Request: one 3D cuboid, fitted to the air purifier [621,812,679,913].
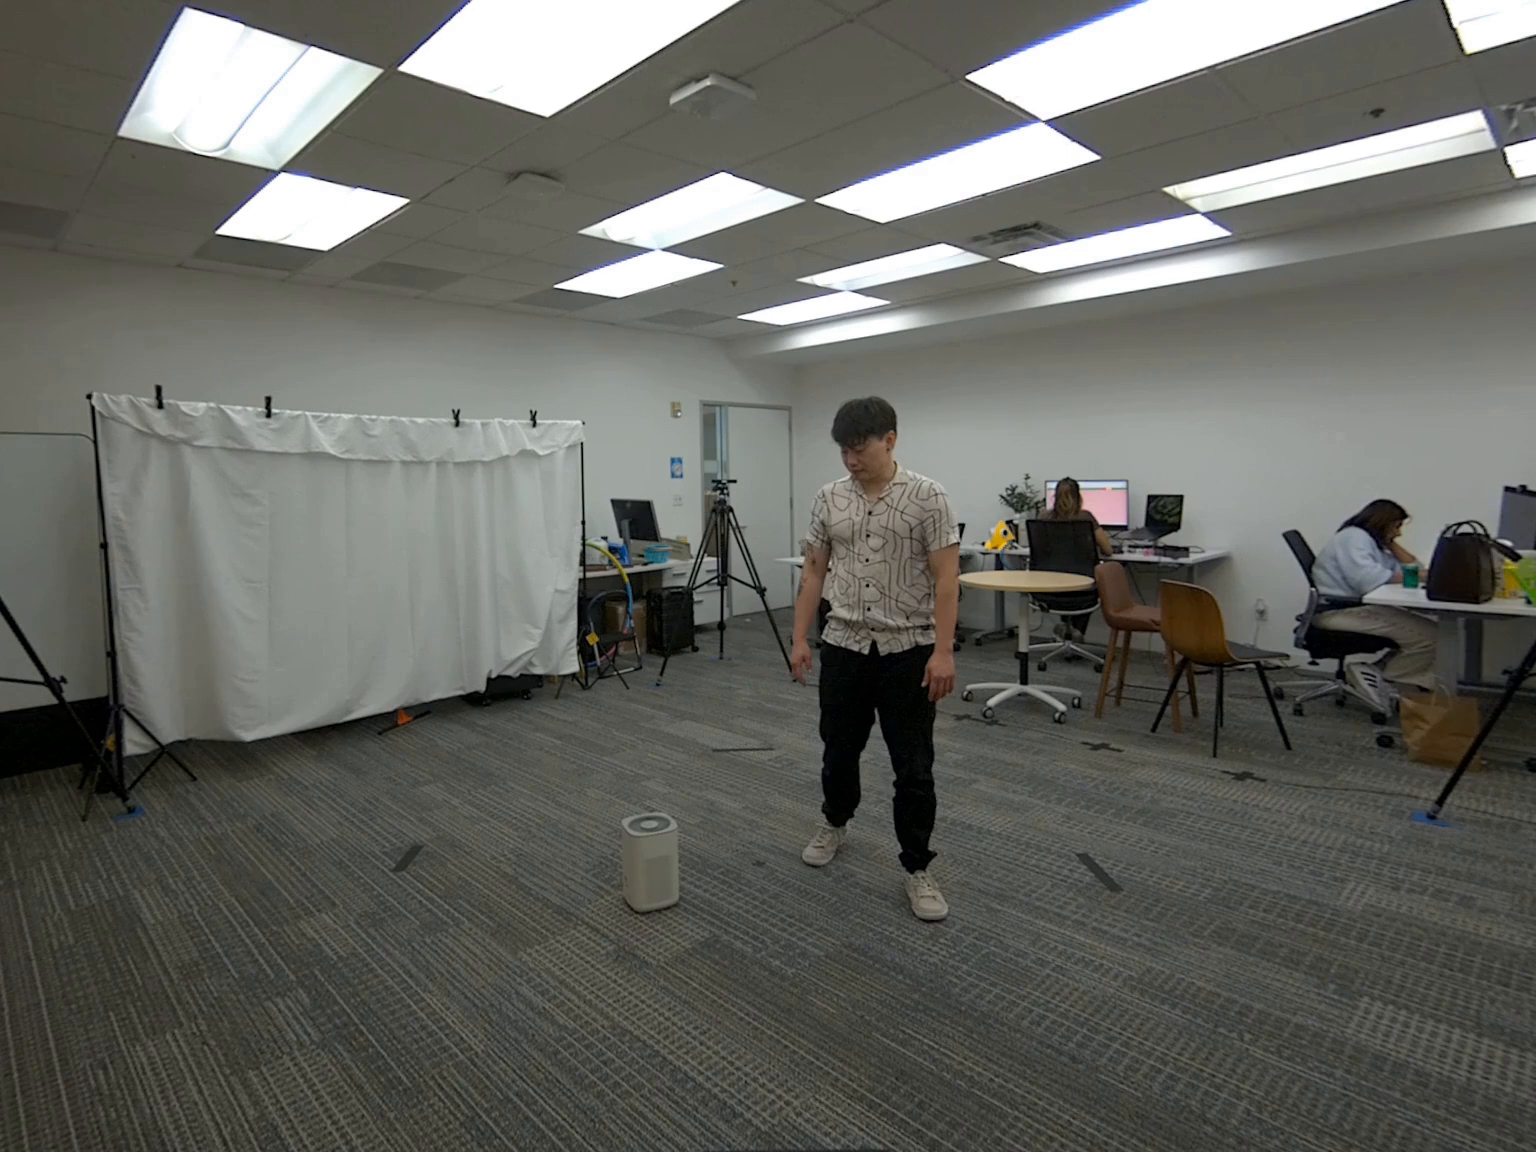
[{"bbox_3d":[-0.384,0.950,2.834,0.167,0.264,0.176,-3,5,-26],"label":"air purifier"}]
